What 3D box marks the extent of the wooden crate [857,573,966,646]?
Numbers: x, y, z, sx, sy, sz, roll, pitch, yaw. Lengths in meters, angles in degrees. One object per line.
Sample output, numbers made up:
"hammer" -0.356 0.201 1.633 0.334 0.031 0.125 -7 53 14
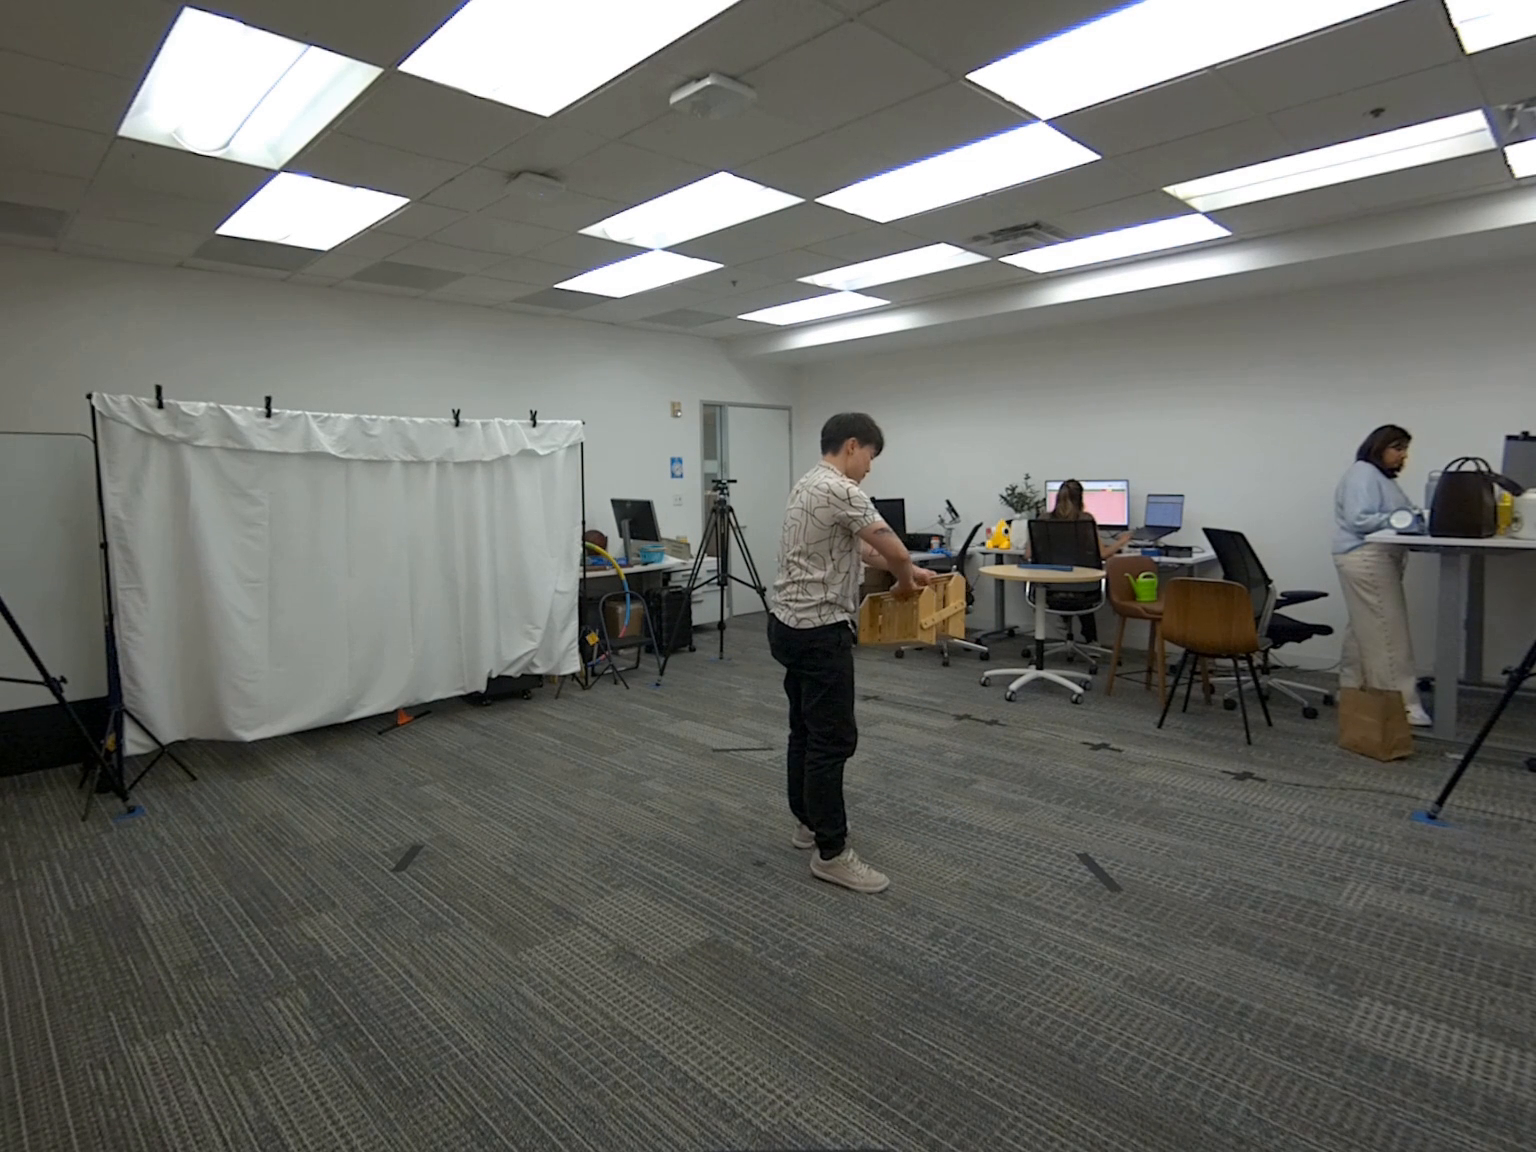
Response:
"wooden crate" 0.547 0.126 3.271 0.264 0.306 0.331 15 -18 -36
